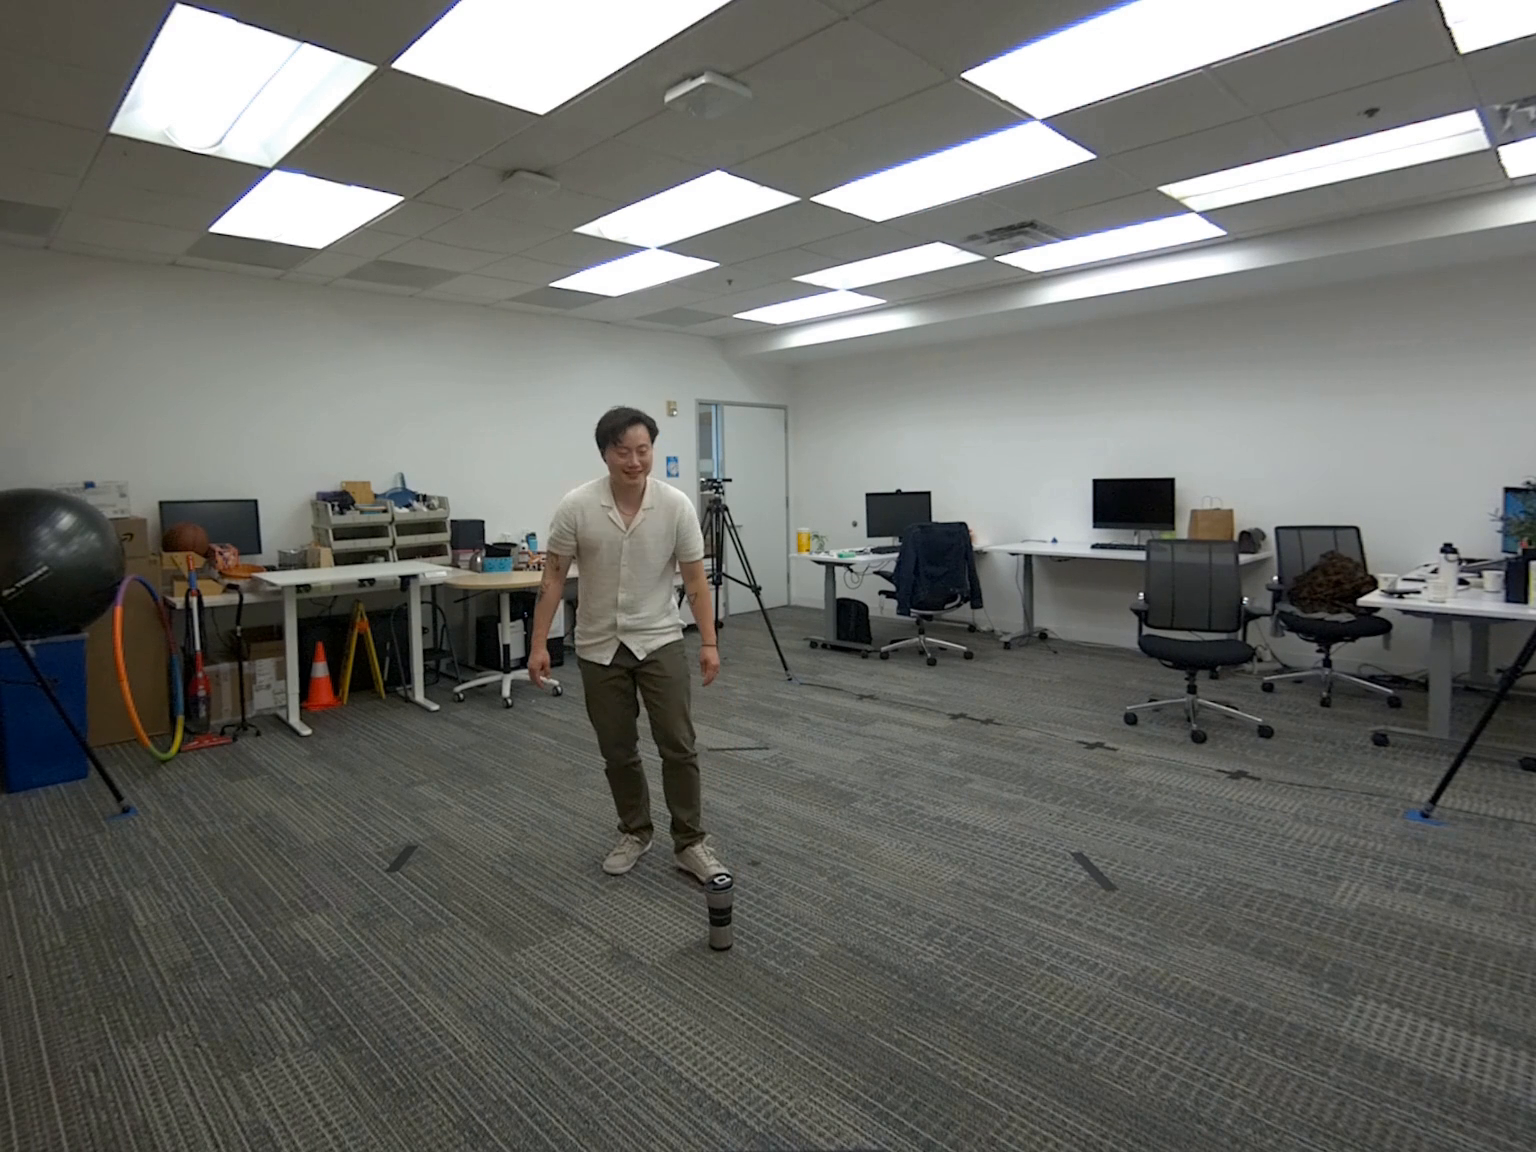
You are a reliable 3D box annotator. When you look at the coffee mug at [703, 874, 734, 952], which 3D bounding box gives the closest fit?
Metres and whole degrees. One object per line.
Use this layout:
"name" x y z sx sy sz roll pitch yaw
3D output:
"coffee mug" -0.128 1.012 2.572 0.090 0.202 0.119 -2 6 40
